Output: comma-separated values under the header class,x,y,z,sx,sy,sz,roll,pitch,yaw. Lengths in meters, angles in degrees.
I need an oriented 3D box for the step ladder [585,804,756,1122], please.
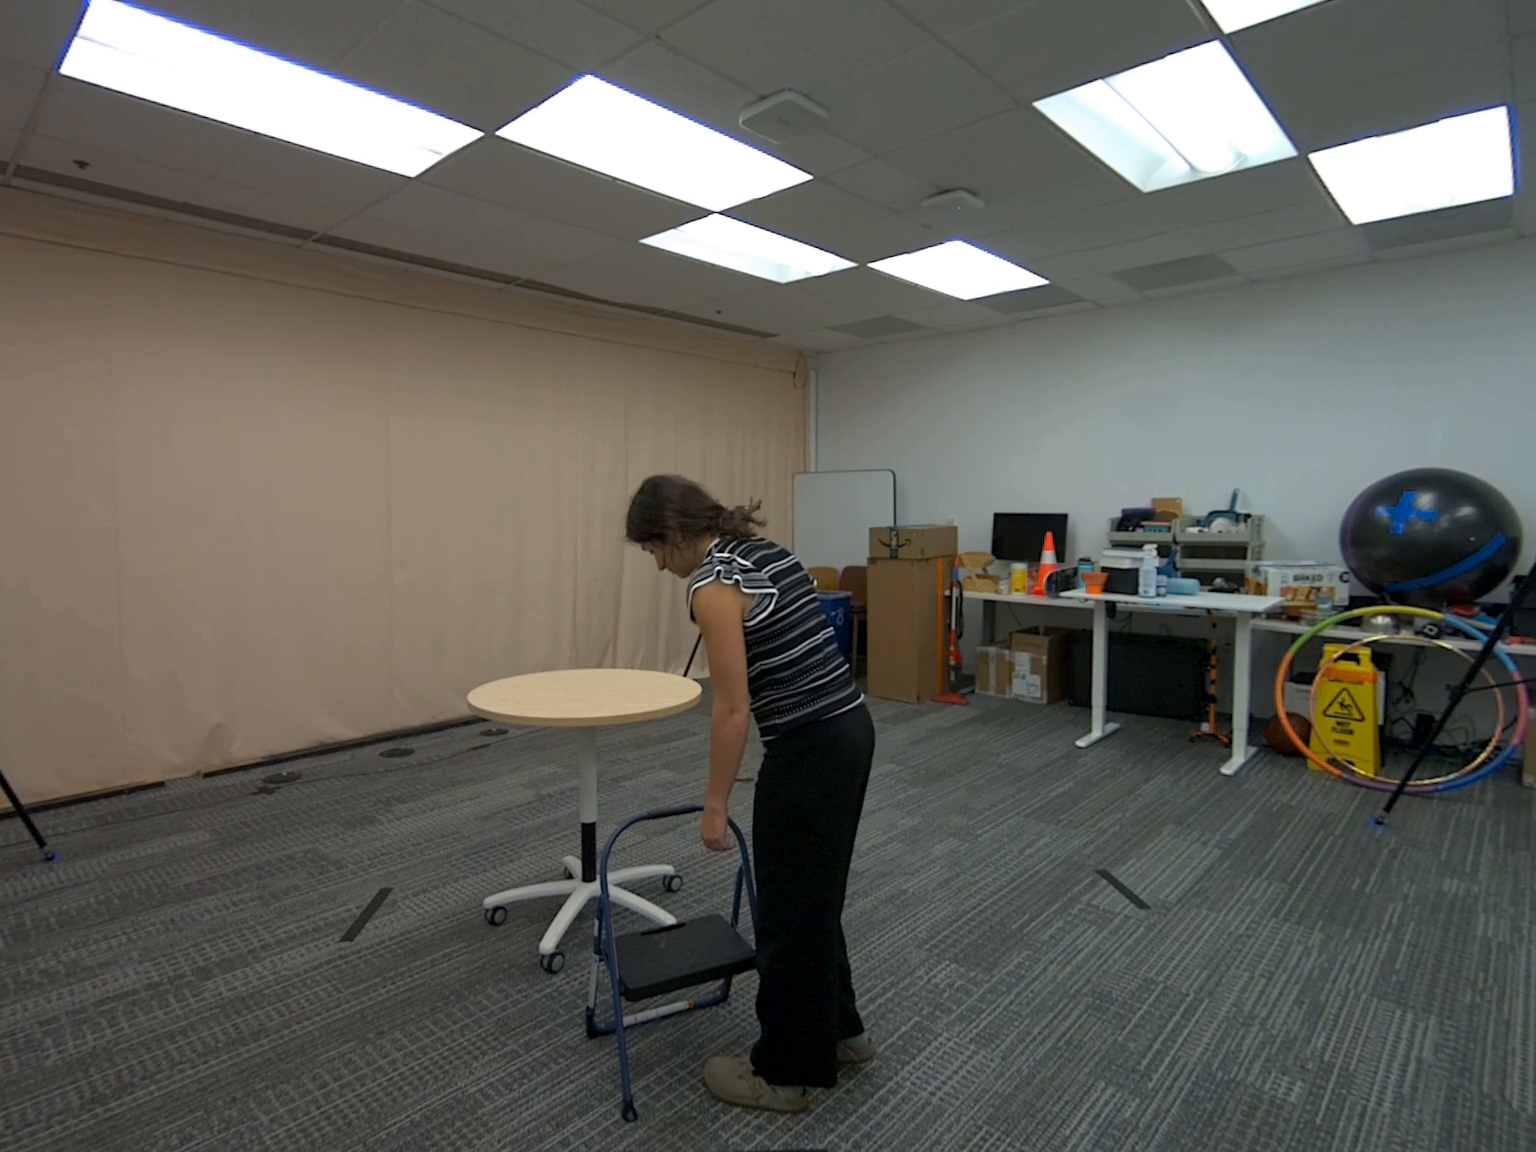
class,x,y,z,sx,sy,sz,roll,pitch,yaw
step ladder,-0.218,0.915,2.134,0.420,0.605,0.359,-2,4,-27
